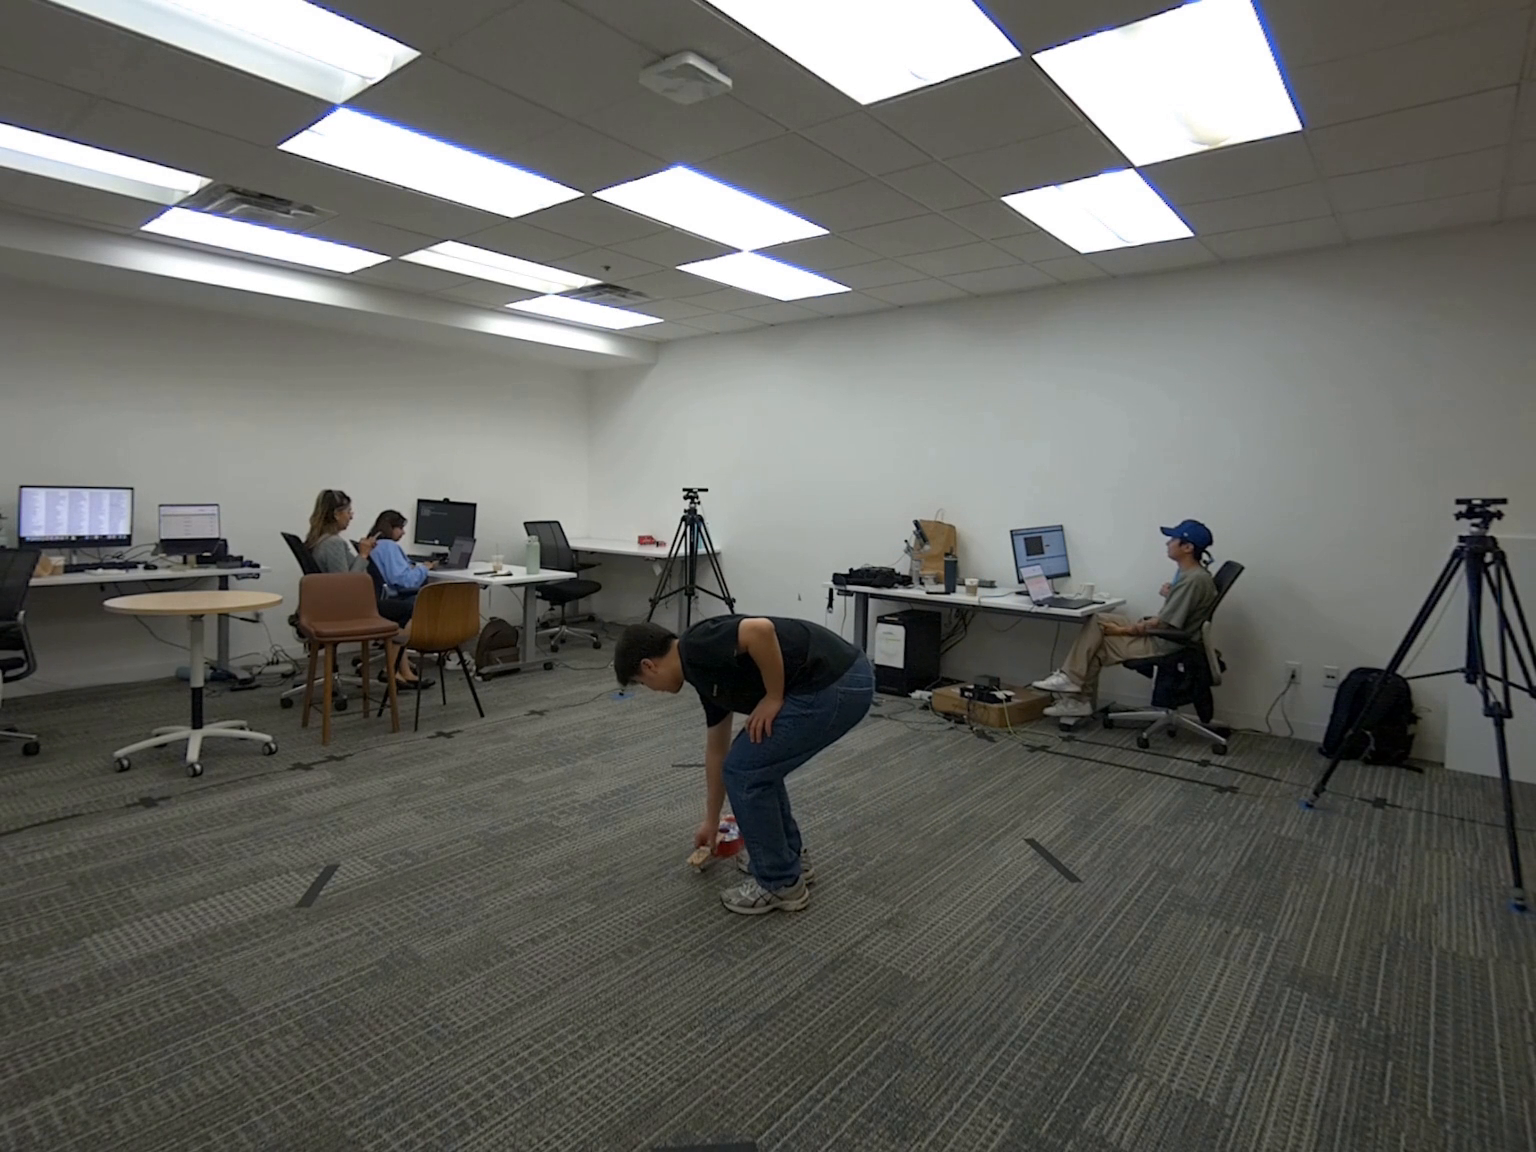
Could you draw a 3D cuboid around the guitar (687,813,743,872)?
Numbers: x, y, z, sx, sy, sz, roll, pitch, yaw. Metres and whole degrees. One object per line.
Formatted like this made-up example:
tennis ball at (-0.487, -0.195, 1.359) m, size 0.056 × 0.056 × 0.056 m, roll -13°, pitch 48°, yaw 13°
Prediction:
guitar at (-0.227, 1.021, 3.258) m, size 0.198 × 0.070 × 0.486 m, roll 3°, pitch 5°, yaw 27°
